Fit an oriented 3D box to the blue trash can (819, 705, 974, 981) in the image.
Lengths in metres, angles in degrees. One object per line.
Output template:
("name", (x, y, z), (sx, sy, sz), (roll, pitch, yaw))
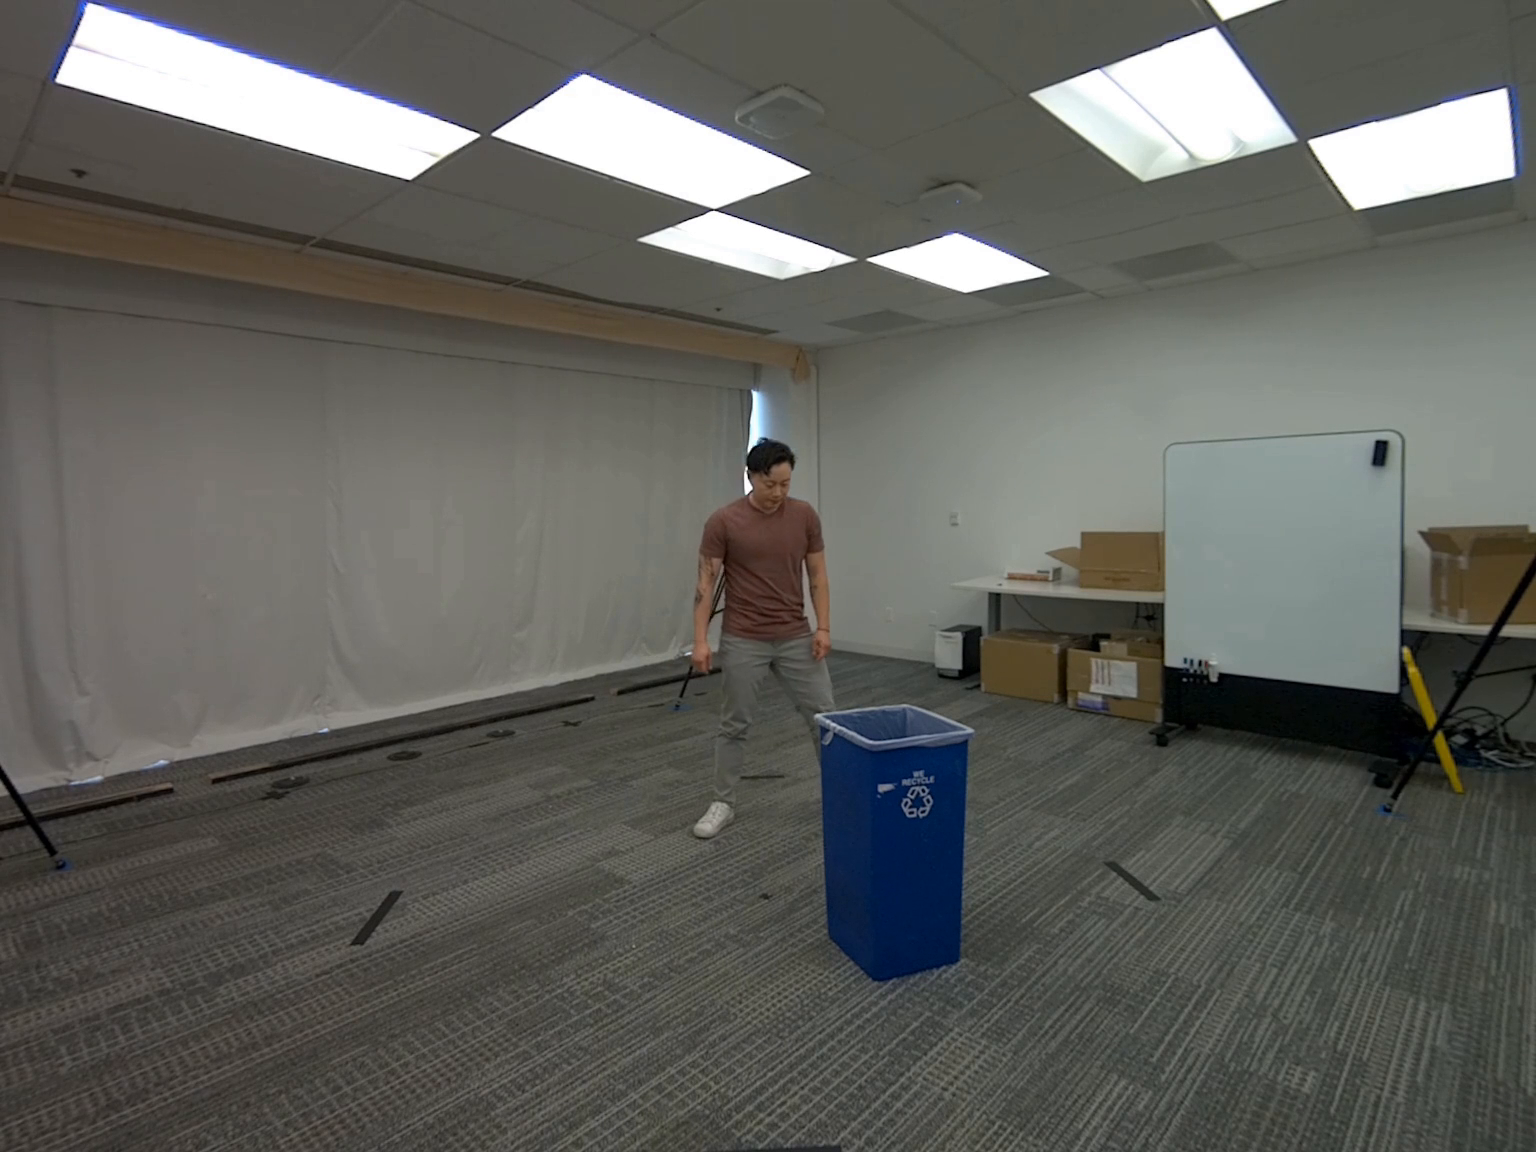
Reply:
("blue trash can", (0.393, 0.802, 2.610), (0.366, 0.712, 0.387), (-3, 4, -23))
